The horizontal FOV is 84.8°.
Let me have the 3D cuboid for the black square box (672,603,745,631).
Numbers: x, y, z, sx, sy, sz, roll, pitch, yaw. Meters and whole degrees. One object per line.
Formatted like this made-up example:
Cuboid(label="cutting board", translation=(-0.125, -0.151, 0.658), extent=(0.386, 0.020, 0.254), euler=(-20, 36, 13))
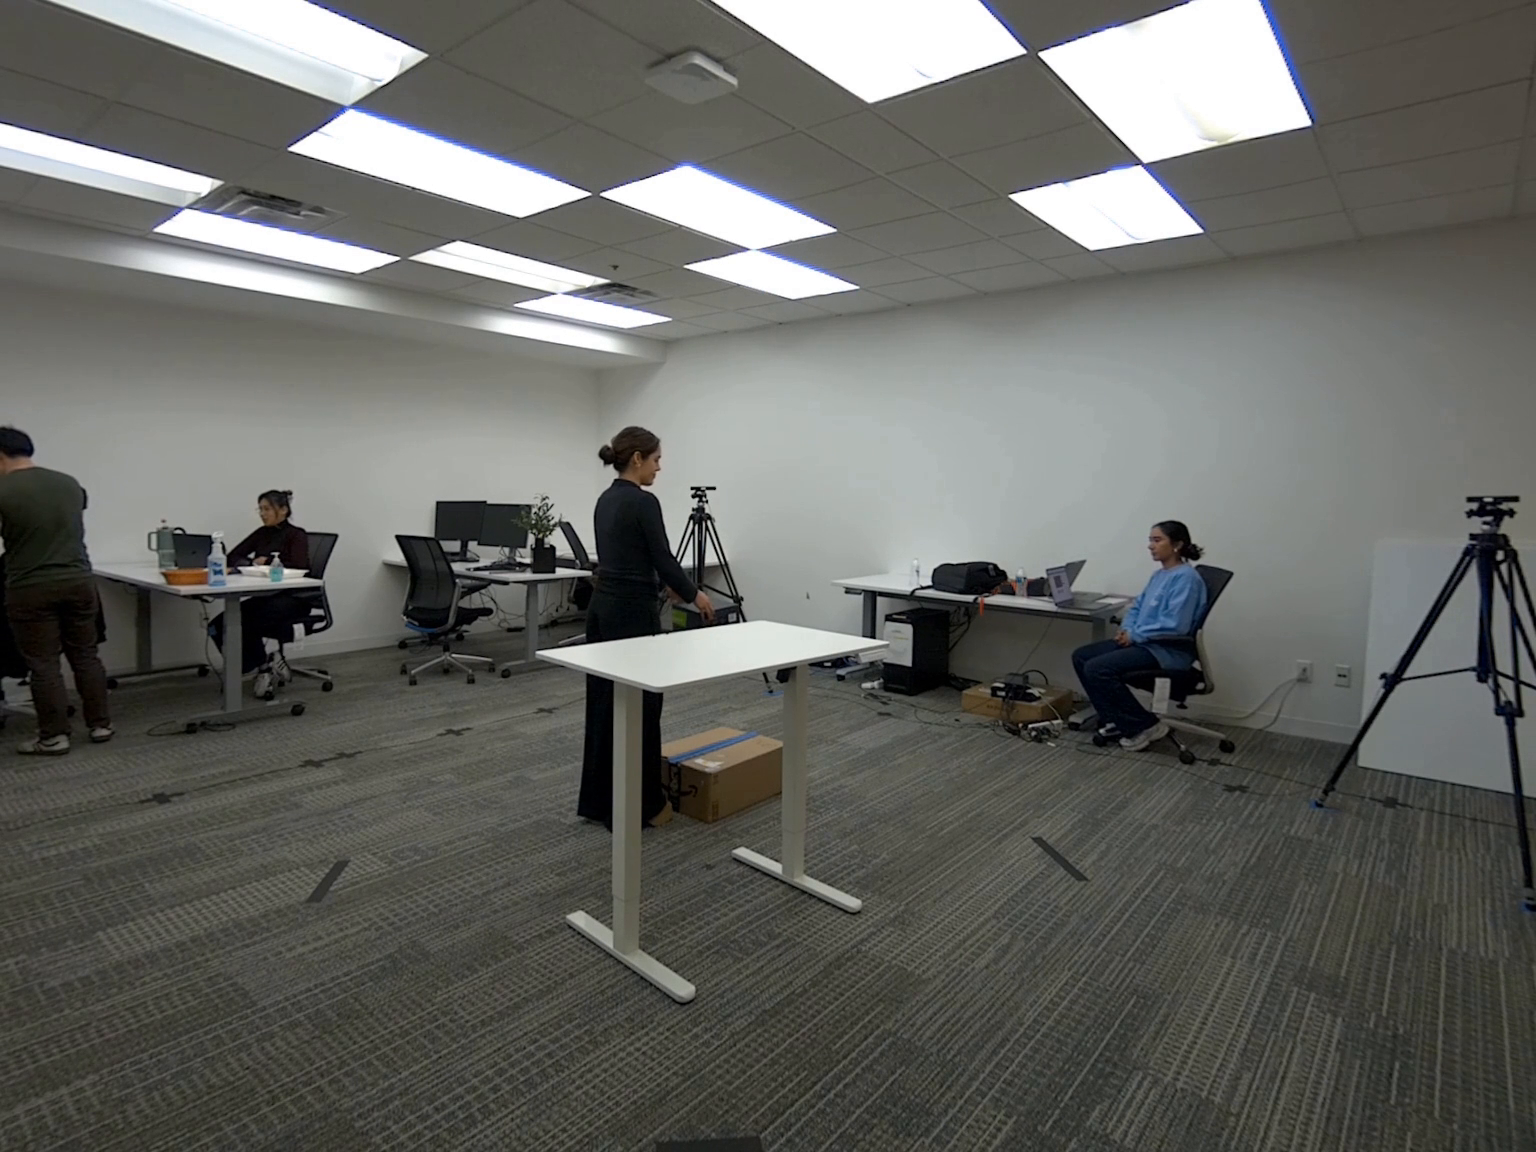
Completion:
Cuboid(label="black square box", translation=(-0.288, 0.196, 3.775), extent=(0.211, 0.154, 0.236), euler=(-11, 14, -36))
